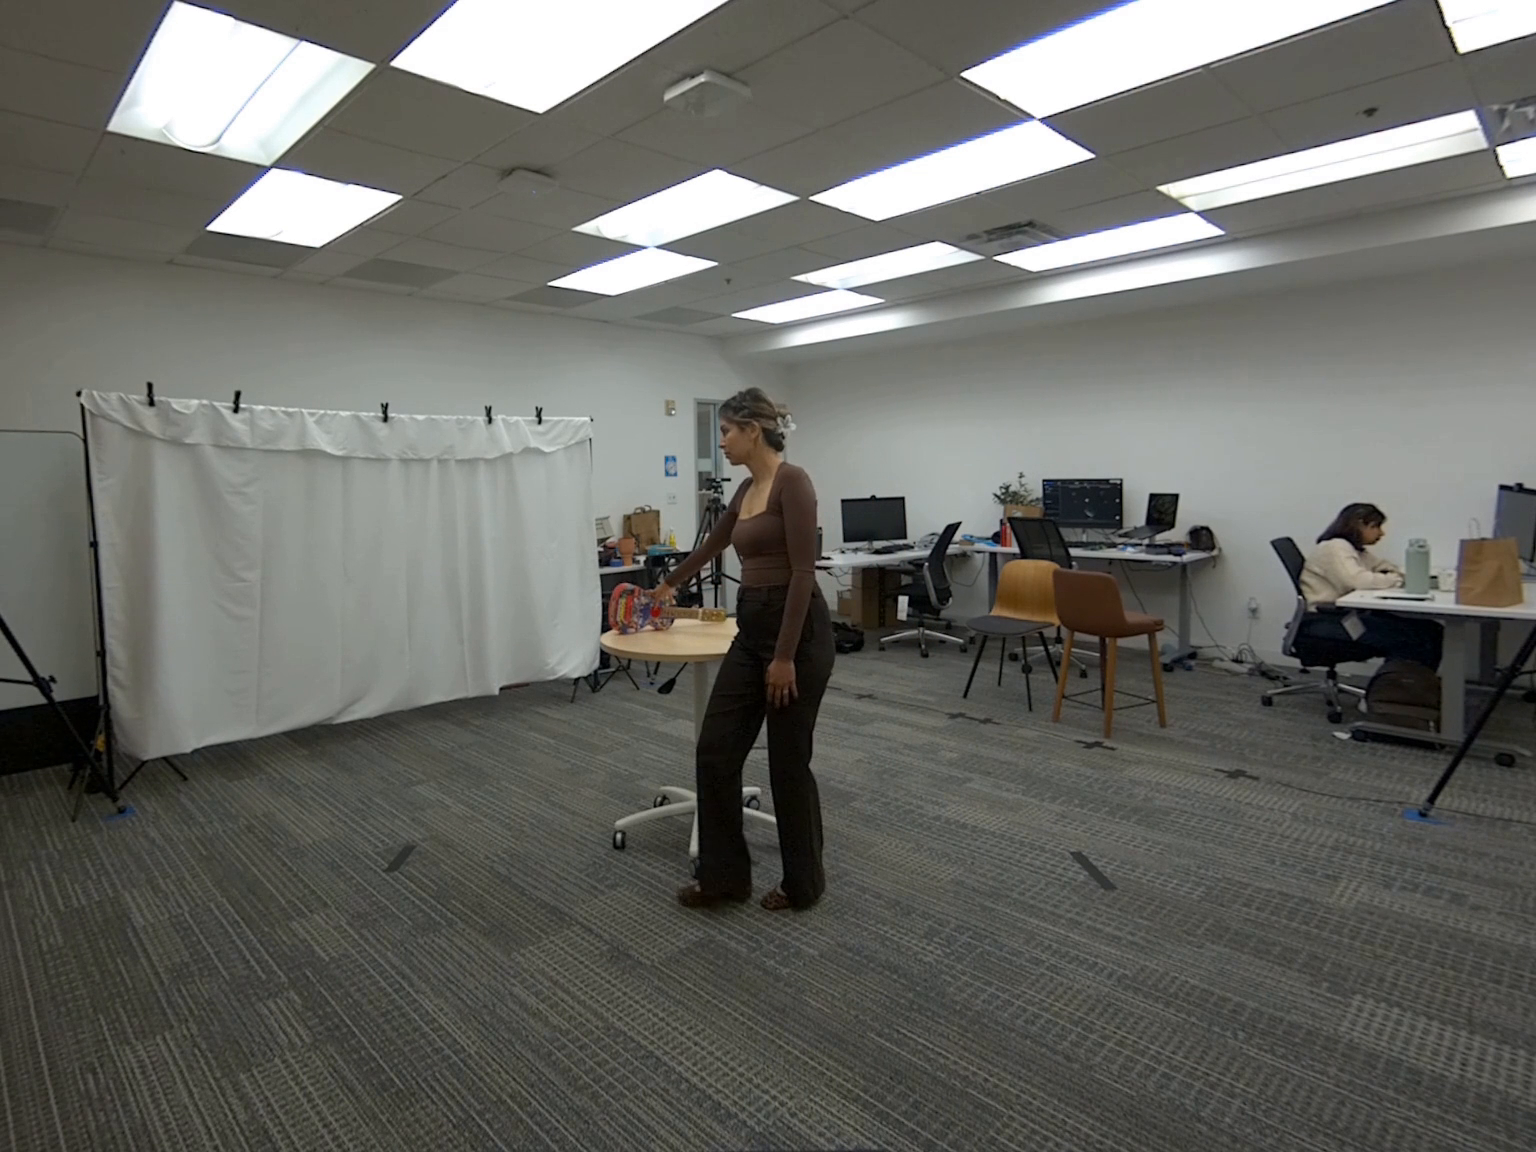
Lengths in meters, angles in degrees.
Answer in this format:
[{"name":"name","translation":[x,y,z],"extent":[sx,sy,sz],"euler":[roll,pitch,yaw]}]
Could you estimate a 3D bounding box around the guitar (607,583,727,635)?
[{"name":"guitar","translation":[-0.402,0.173,3.441],"extent":[0.483,0.193,0.072],"euler":[16,-4,-28]}]
